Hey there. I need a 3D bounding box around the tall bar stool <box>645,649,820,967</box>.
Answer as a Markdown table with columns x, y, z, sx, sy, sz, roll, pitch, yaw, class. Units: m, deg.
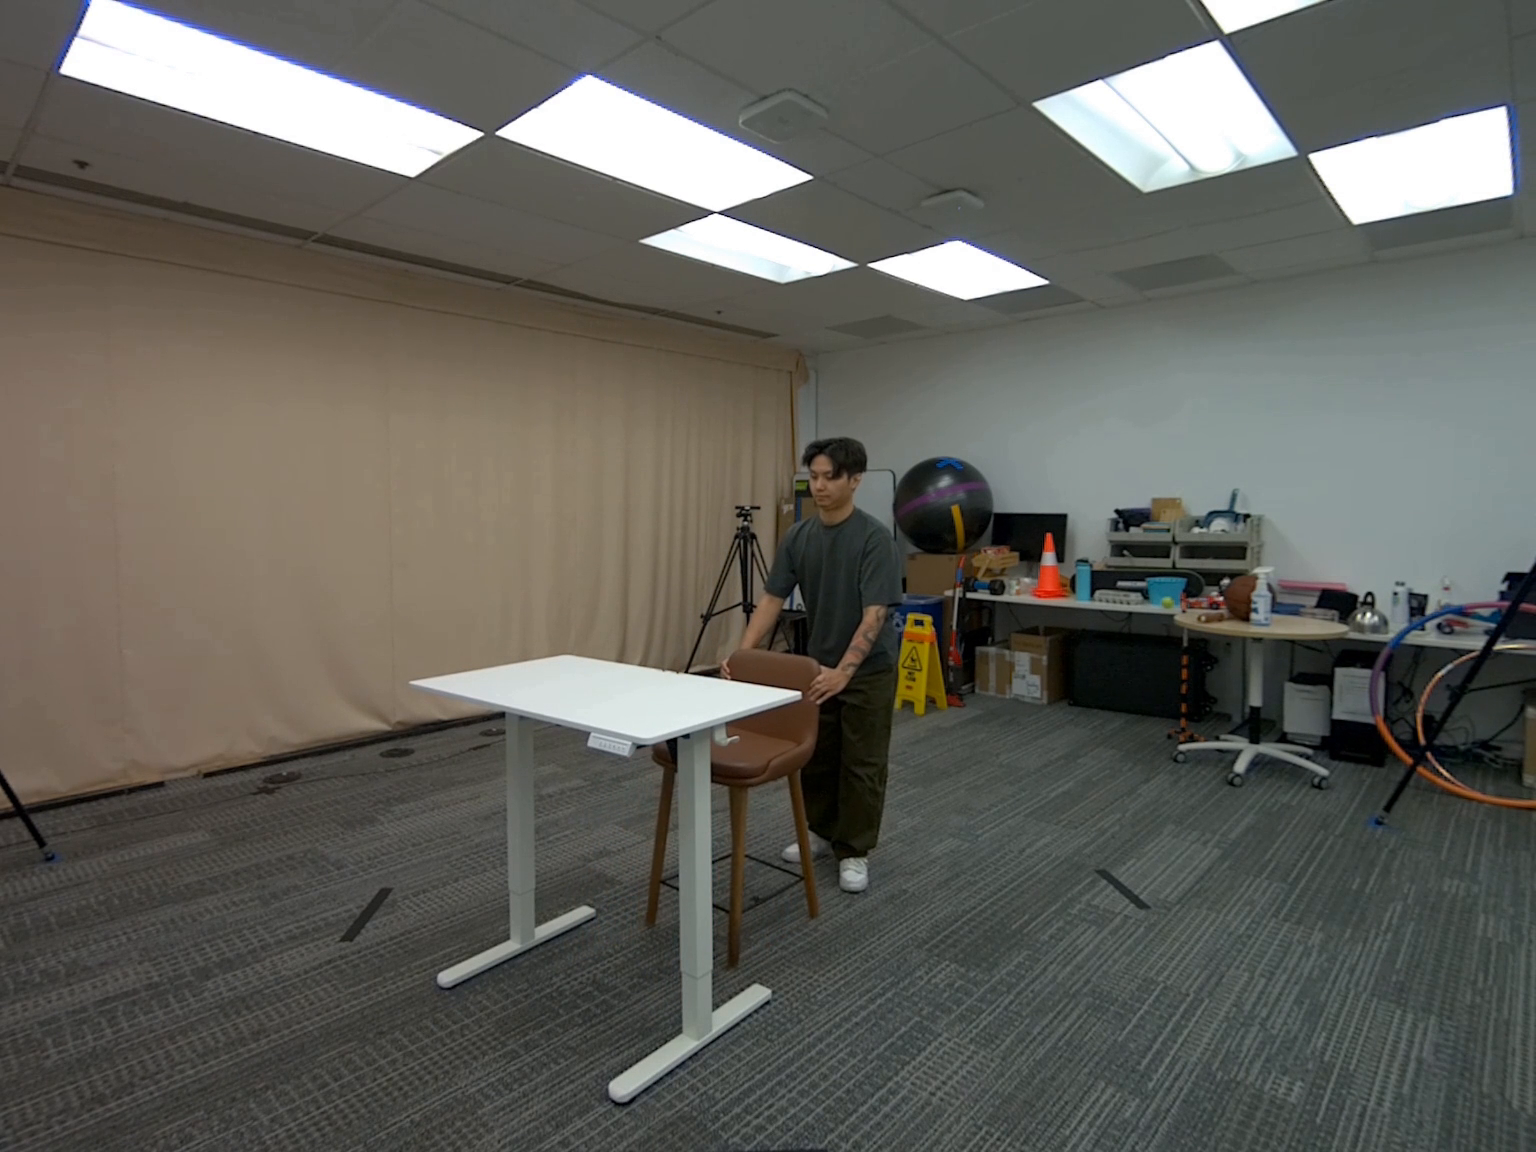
| x | y | z | sx | sy | sz | roll | pitch | yaw | class |
| --- | --- | --- | --- | --- | --- | --- | --- | --- | --- |
| -0.102 | 0.721 | 2.807 | 0.472 | 0.889 | 0.453 | 3 | 2 | 42 | tall bar stool |
